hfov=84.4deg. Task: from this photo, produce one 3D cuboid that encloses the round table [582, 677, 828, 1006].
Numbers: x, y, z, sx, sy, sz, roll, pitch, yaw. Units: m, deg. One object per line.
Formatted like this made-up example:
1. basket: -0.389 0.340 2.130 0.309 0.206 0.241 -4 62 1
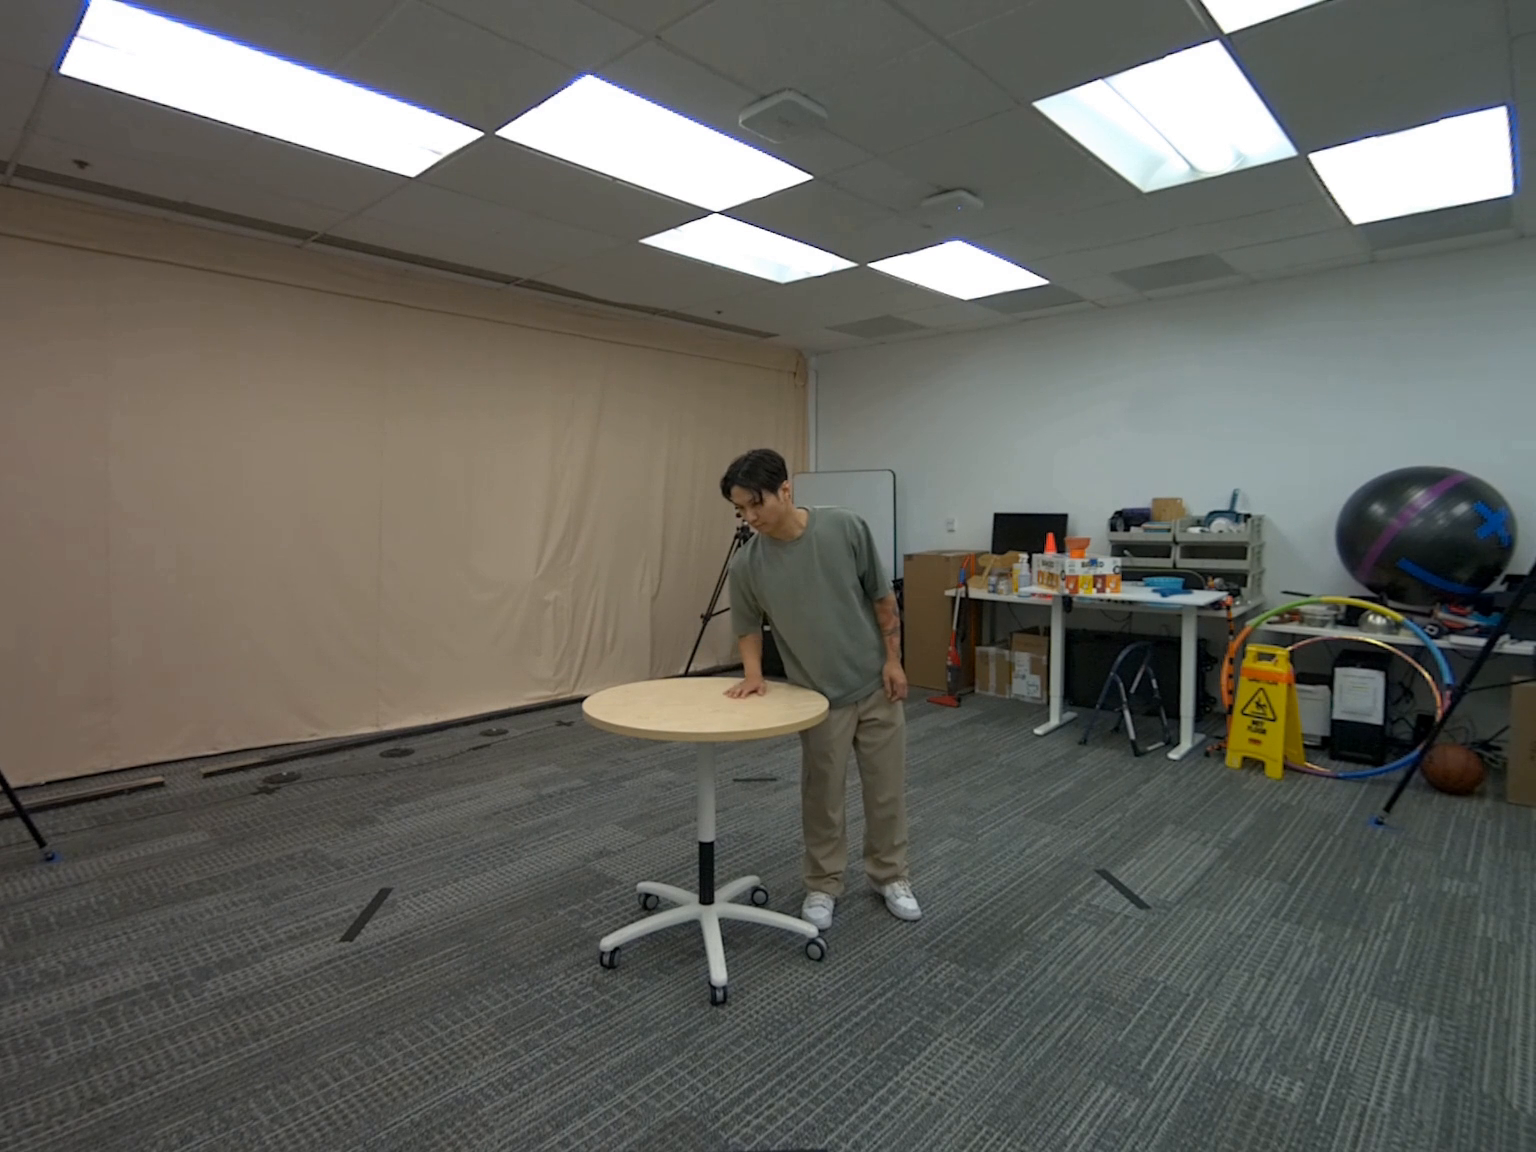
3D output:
1. round table: -0.193 0.786 2.644 0.763 0.792 0.766 0 3 -2
